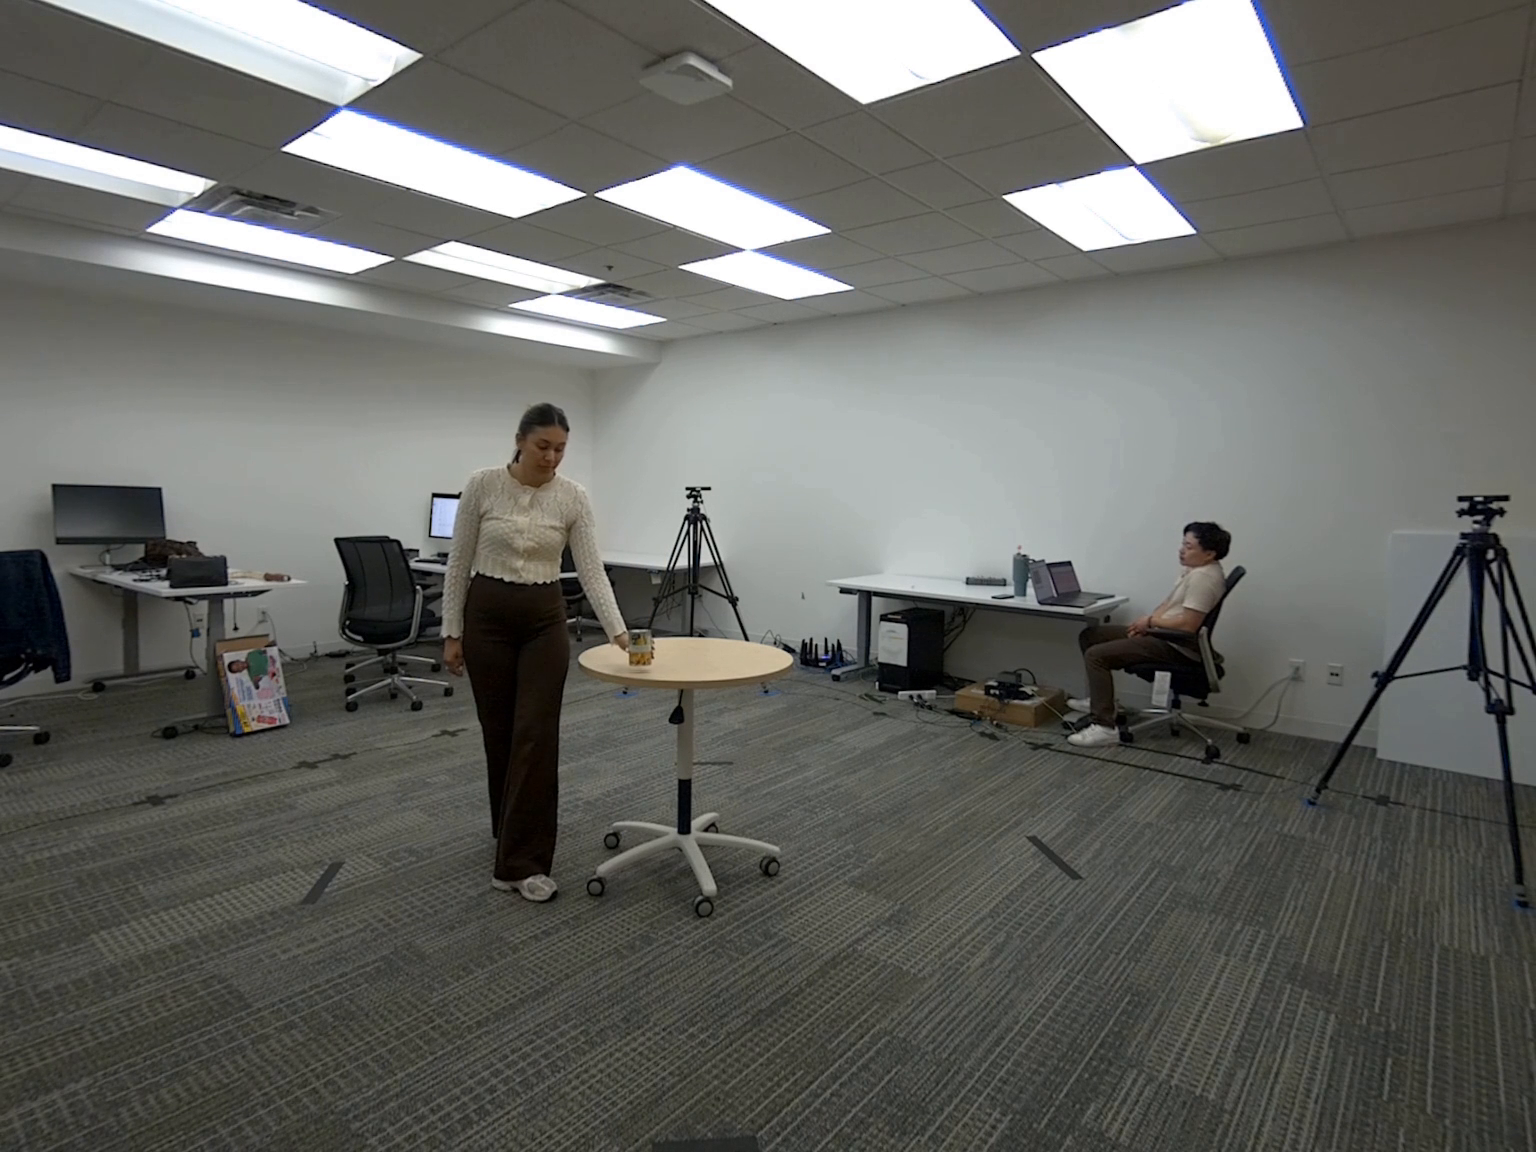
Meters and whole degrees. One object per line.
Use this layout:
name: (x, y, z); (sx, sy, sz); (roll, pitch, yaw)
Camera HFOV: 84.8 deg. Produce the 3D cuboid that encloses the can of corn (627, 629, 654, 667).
can of corn: (-0.435, 0.231, 2.805); (0.074, 0.111, 0.074); (-1, -1, -2)
